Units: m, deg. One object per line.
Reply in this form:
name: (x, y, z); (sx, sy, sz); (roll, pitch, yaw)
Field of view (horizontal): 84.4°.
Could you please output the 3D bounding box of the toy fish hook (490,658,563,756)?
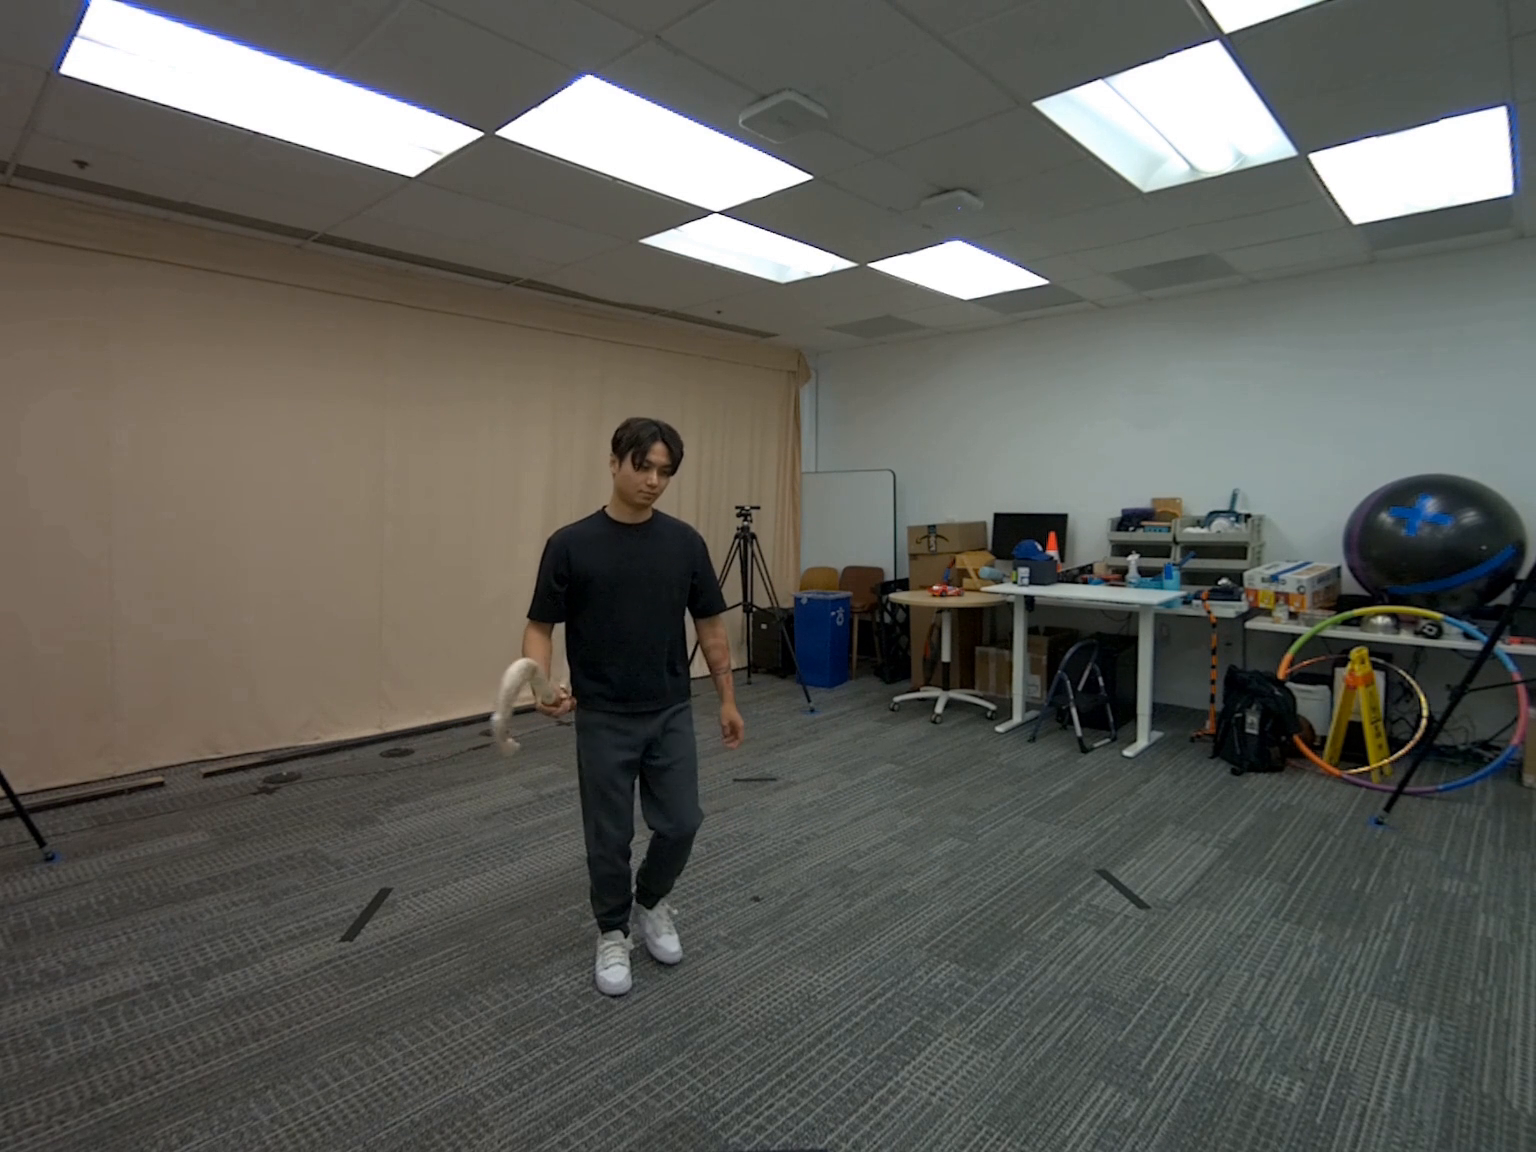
toy fish hook: (-0.553, 0.347, 2.087); (0.049, 0.225, 0.498); (14, -15, 9)
